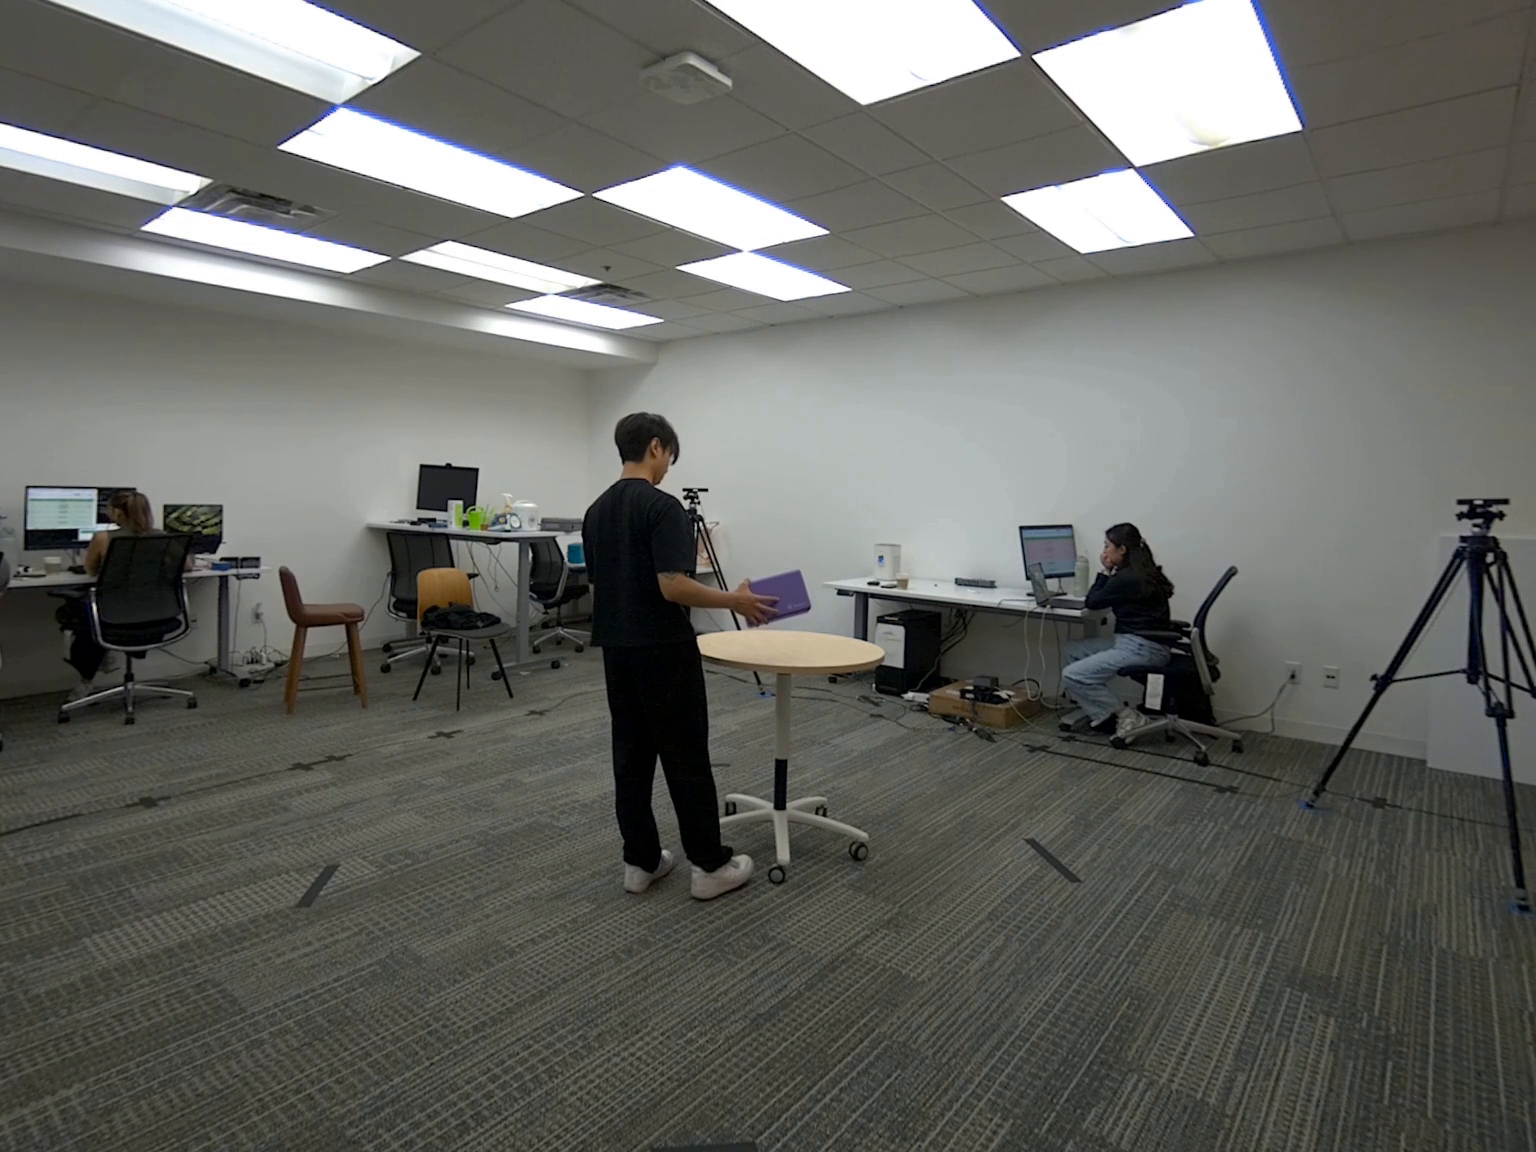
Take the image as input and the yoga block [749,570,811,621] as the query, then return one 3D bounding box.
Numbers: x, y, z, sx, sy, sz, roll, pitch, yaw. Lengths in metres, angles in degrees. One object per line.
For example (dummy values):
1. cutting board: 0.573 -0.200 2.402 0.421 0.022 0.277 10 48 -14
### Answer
1. yoga block: 0.011 0.075 2.965 0.229 0.152 0.075 -11 -16 1
